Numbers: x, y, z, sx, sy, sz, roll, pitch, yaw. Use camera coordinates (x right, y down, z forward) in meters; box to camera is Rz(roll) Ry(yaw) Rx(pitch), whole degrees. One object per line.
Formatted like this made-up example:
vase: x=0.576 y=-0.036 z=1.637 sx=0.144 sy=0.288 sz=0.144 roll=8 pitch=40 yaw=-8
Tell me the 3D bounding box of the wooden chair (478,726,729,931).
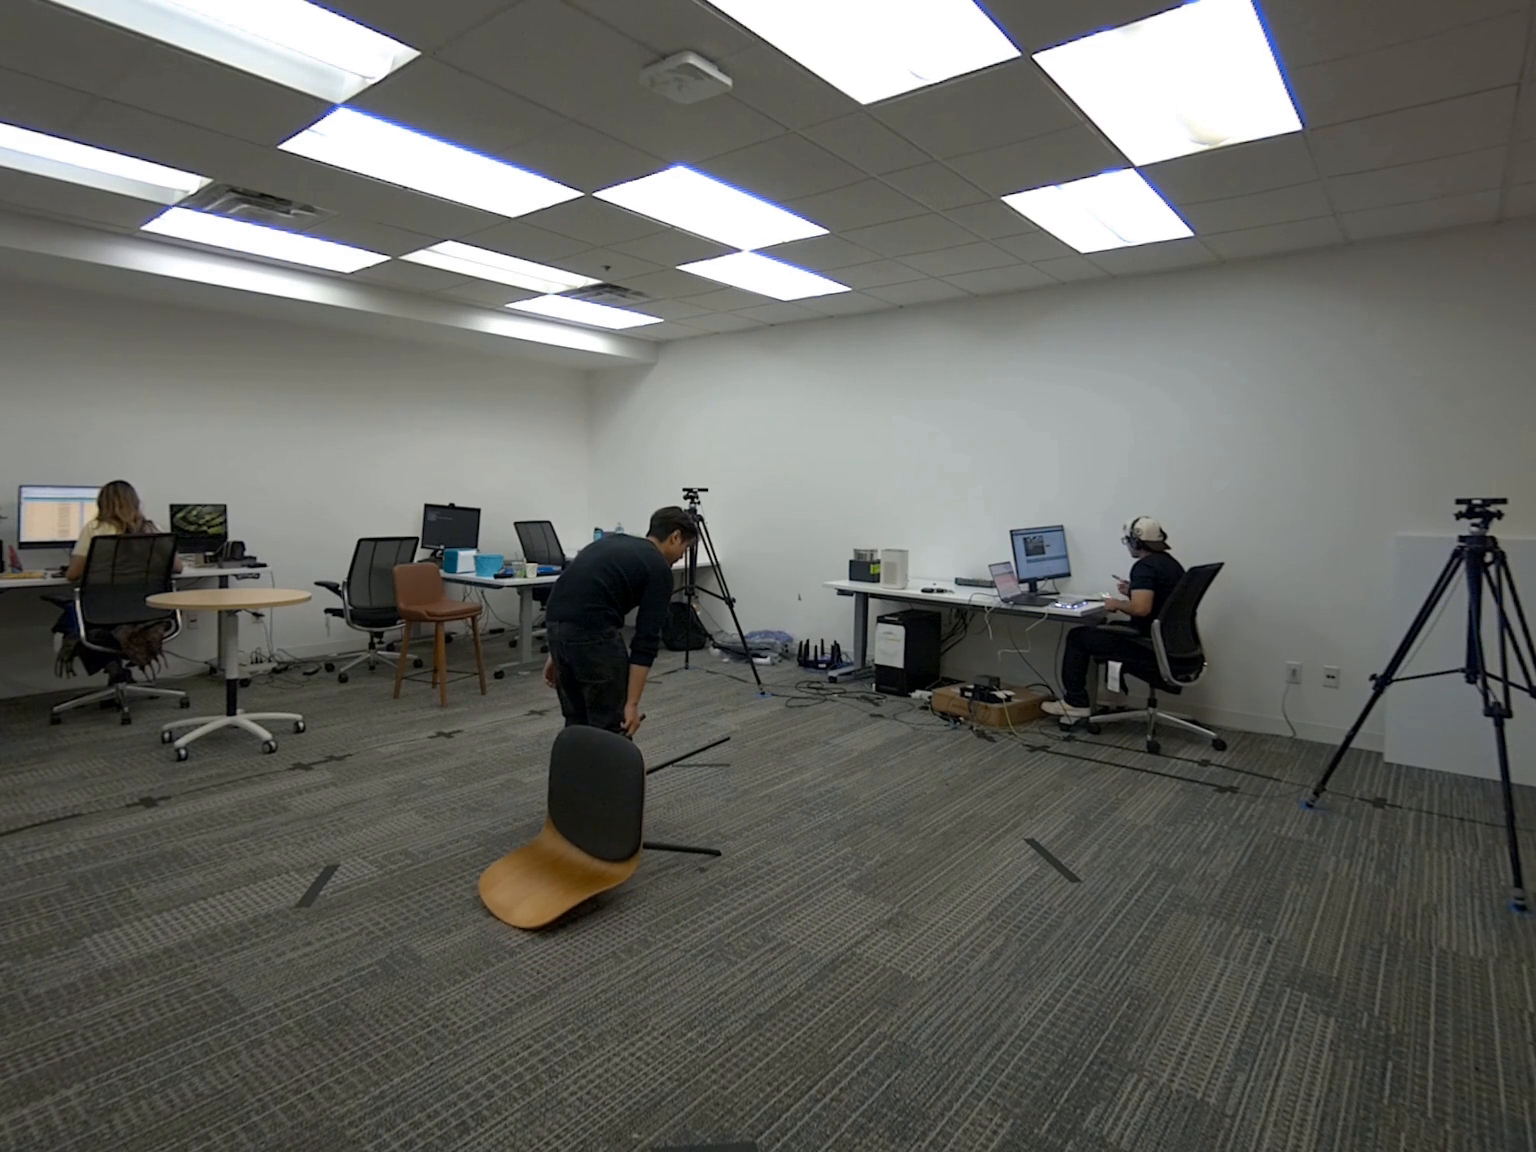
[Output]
wooden chair: x=-0.600 y=0.809 z=3.029 sx=0.494 sy=0.520 sz=0.853 roll=6 pitch=8 yaw=36
